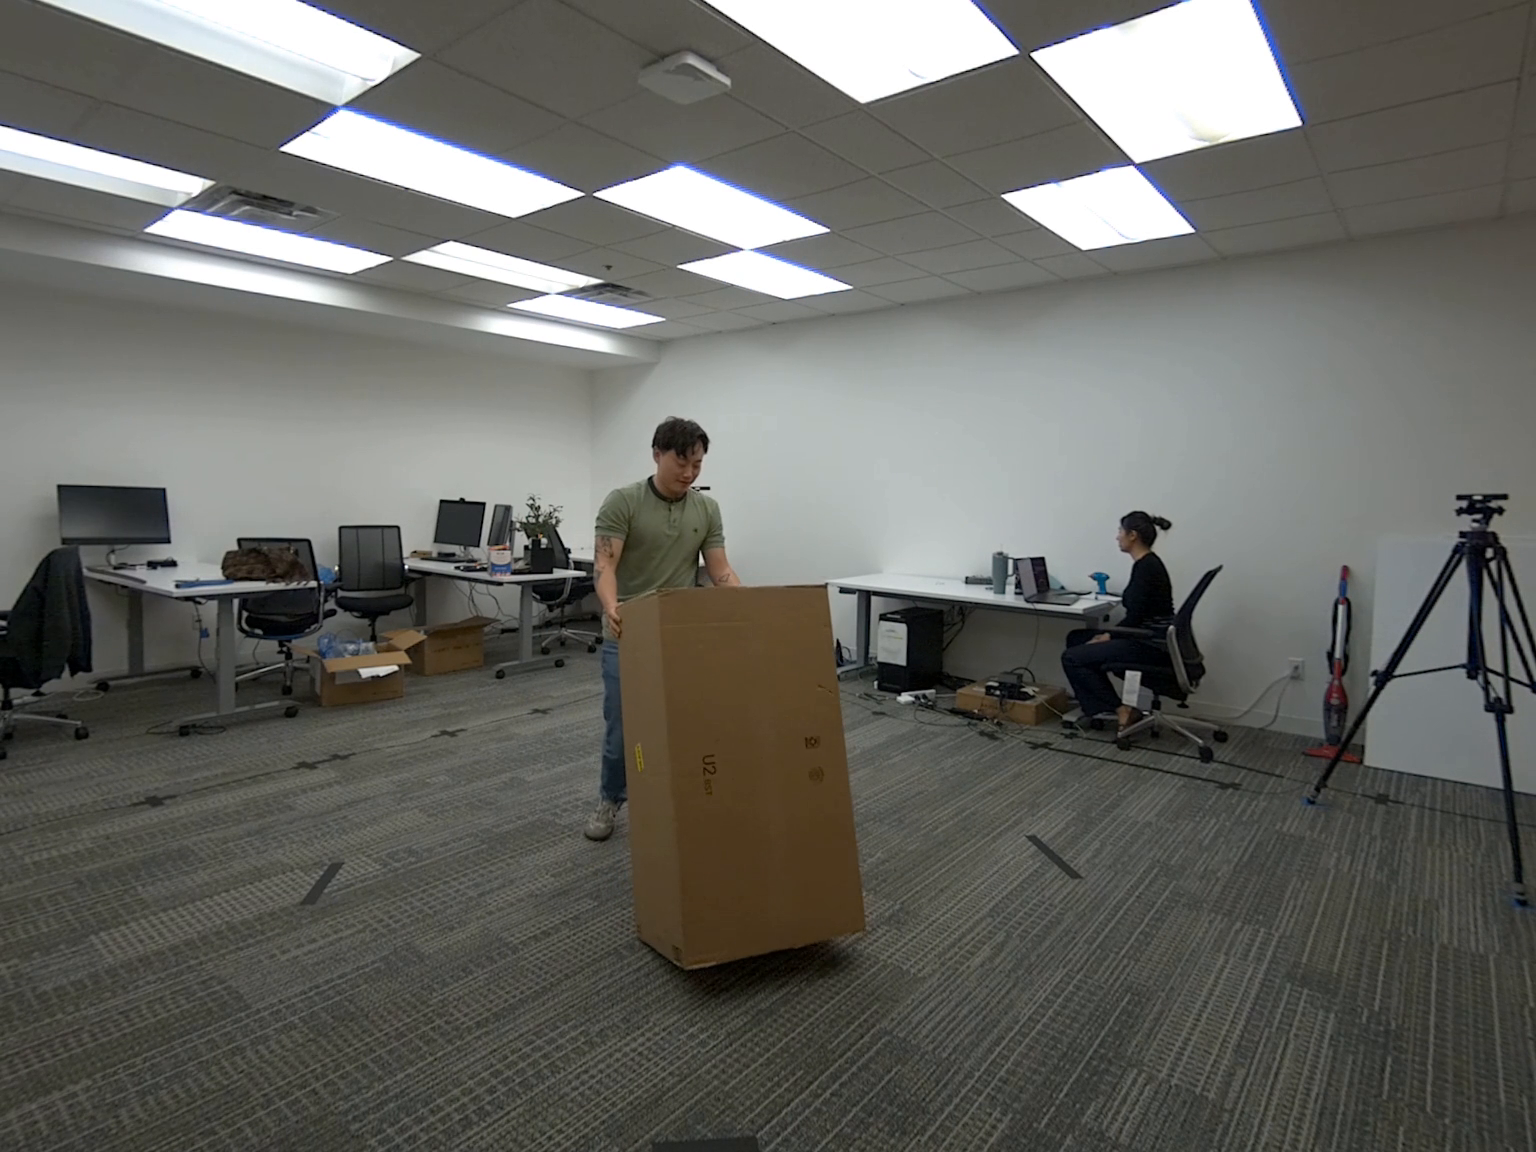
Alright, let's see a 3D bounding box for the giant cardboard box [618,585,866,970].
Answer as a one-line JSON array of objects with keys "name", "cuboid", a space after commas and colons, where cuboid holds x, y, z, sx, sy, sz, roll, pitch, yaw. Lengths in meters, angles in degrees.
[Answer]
[{"name": "giant cardboard box", "cuboid": [-0.114, 0.569, 2.647, 0.563, 1.037, 0.432, -1, -11, -26]}]
